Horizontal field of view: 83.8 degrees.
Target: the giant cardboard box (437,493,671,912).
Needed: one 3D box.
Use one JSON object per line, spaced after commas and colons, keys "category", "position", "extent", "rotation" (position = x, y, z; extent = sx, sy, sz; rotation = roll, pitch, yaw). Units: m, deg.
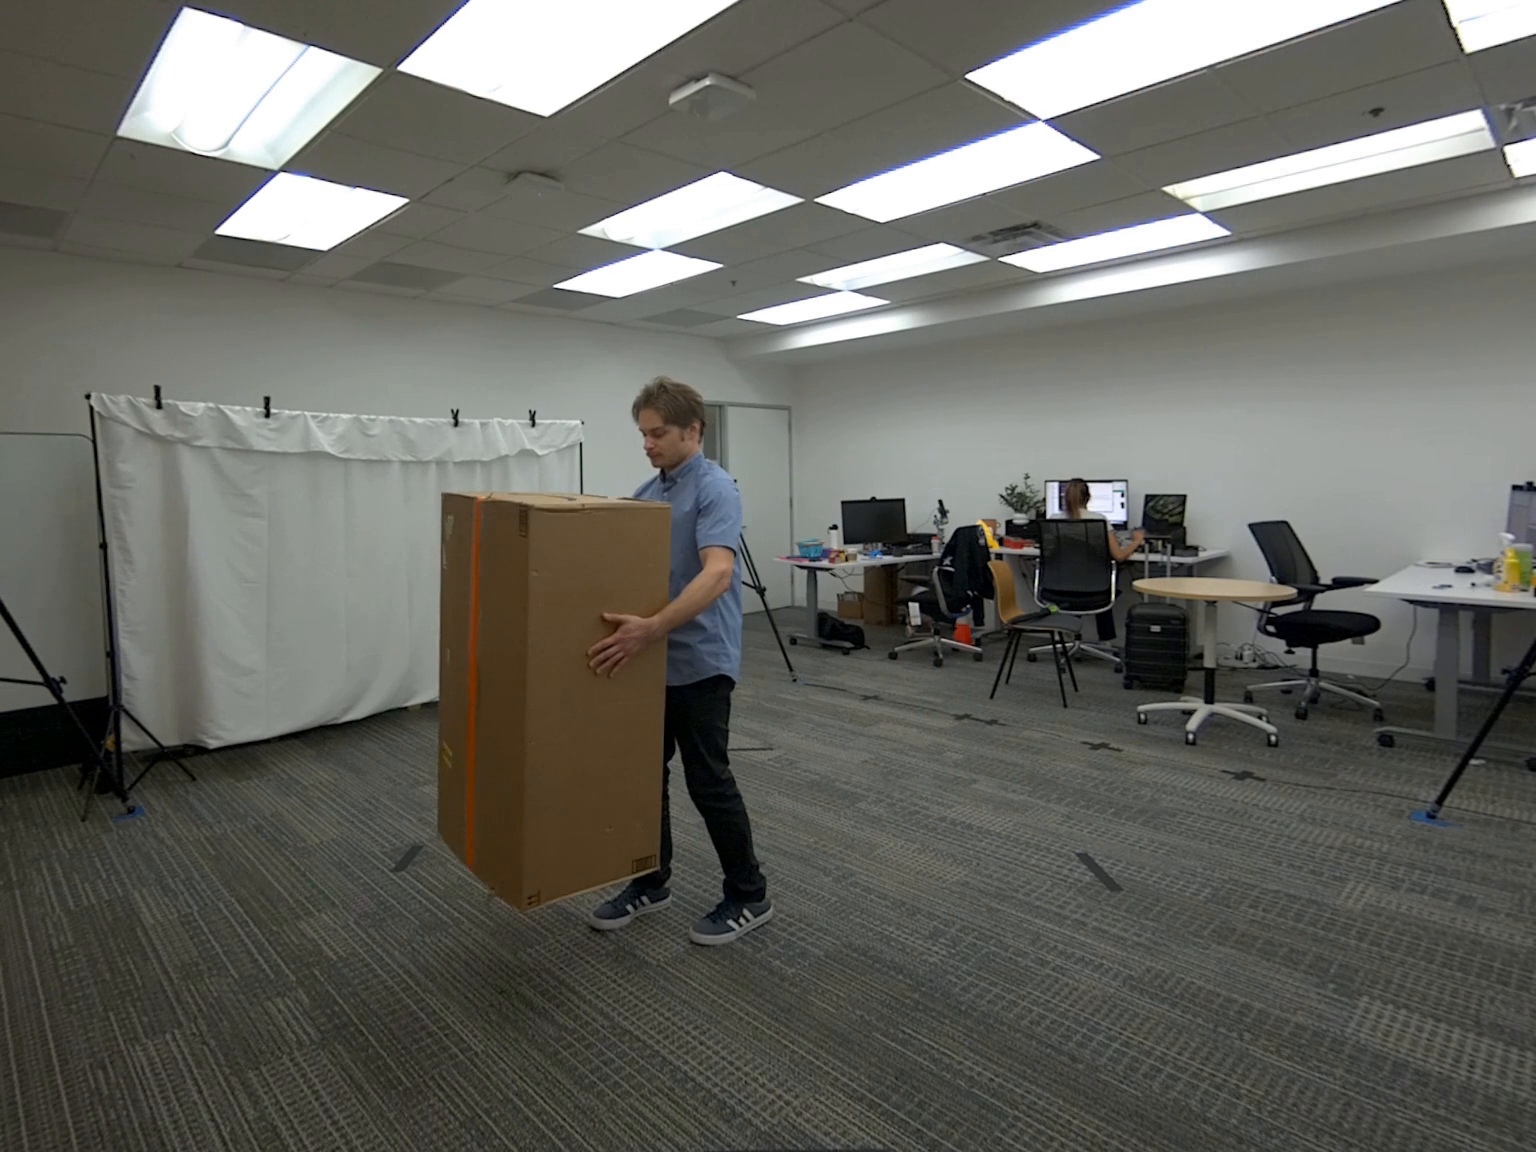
{"category": "giant cardboard box", "position": [-0.622, 0.290, 2.416], "extent": [0.414, 1.022, 0.596], "rotation": [-1, 6, -40]}
